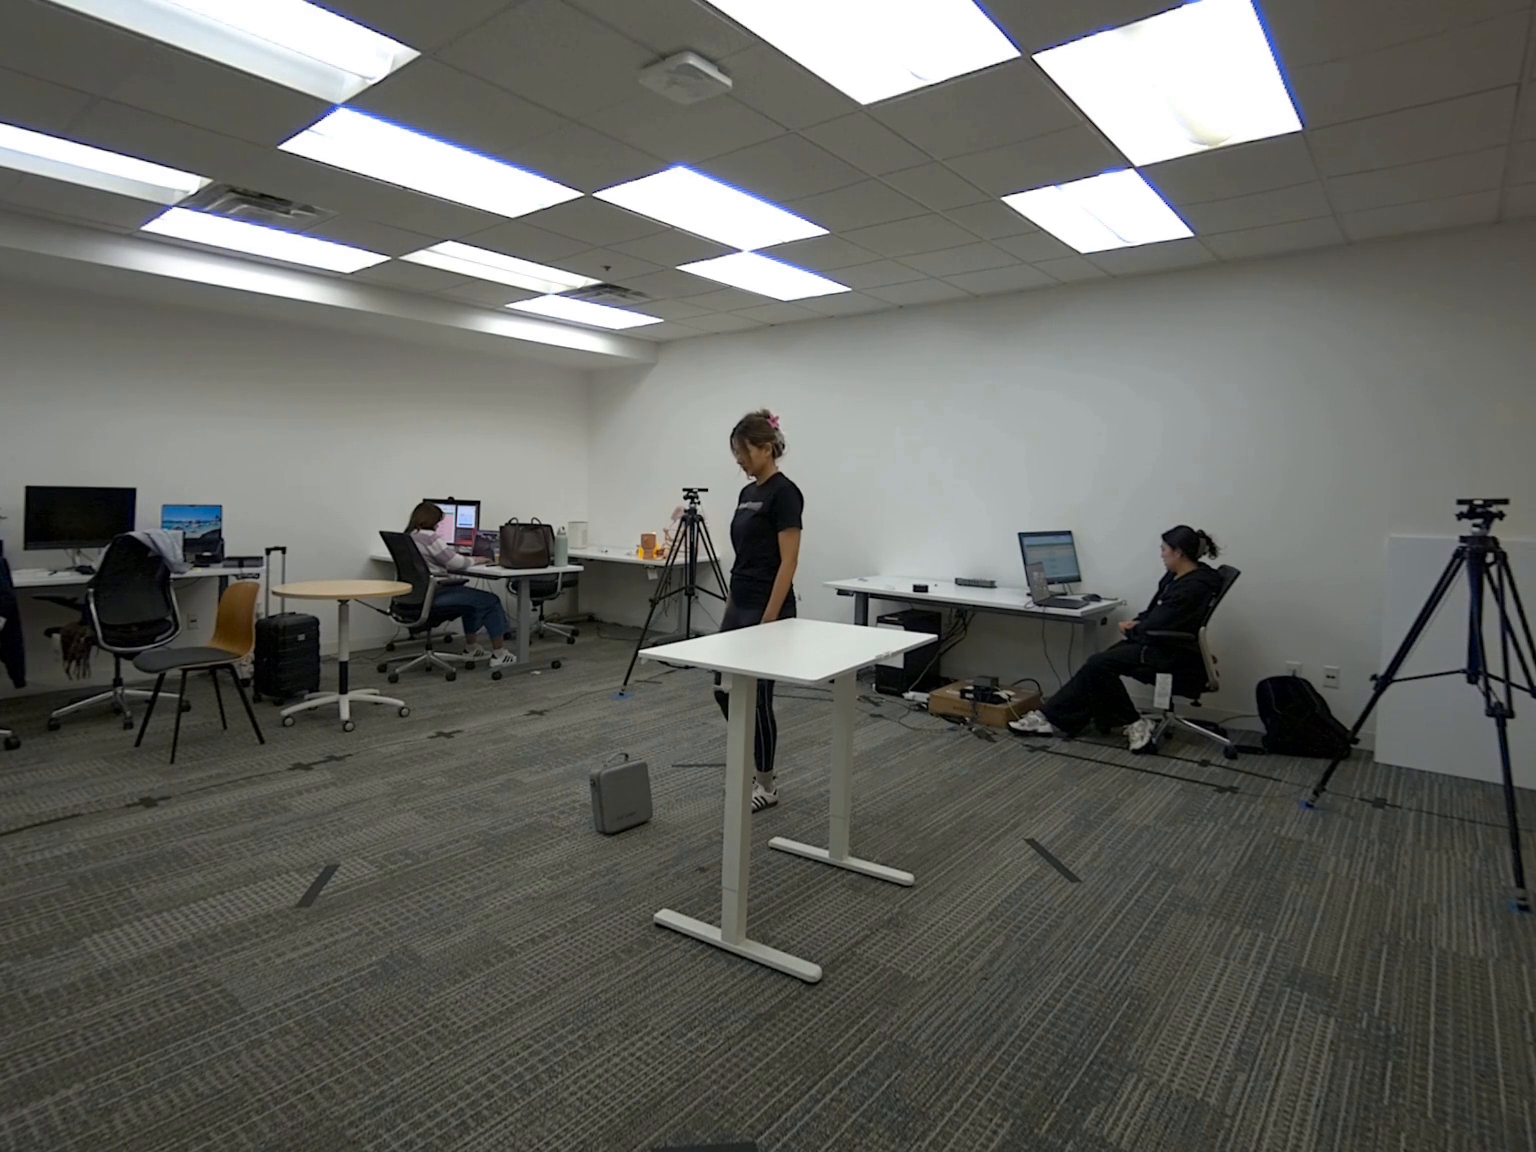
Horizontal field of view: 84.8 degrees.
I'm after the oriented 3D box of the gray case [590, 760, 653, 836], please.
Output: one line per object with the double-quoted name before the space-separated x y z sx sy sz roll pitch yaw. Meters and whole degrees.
"gray case" -0.616 0.894 3.499 0.107 0.262 0.249 -10 -5 43
